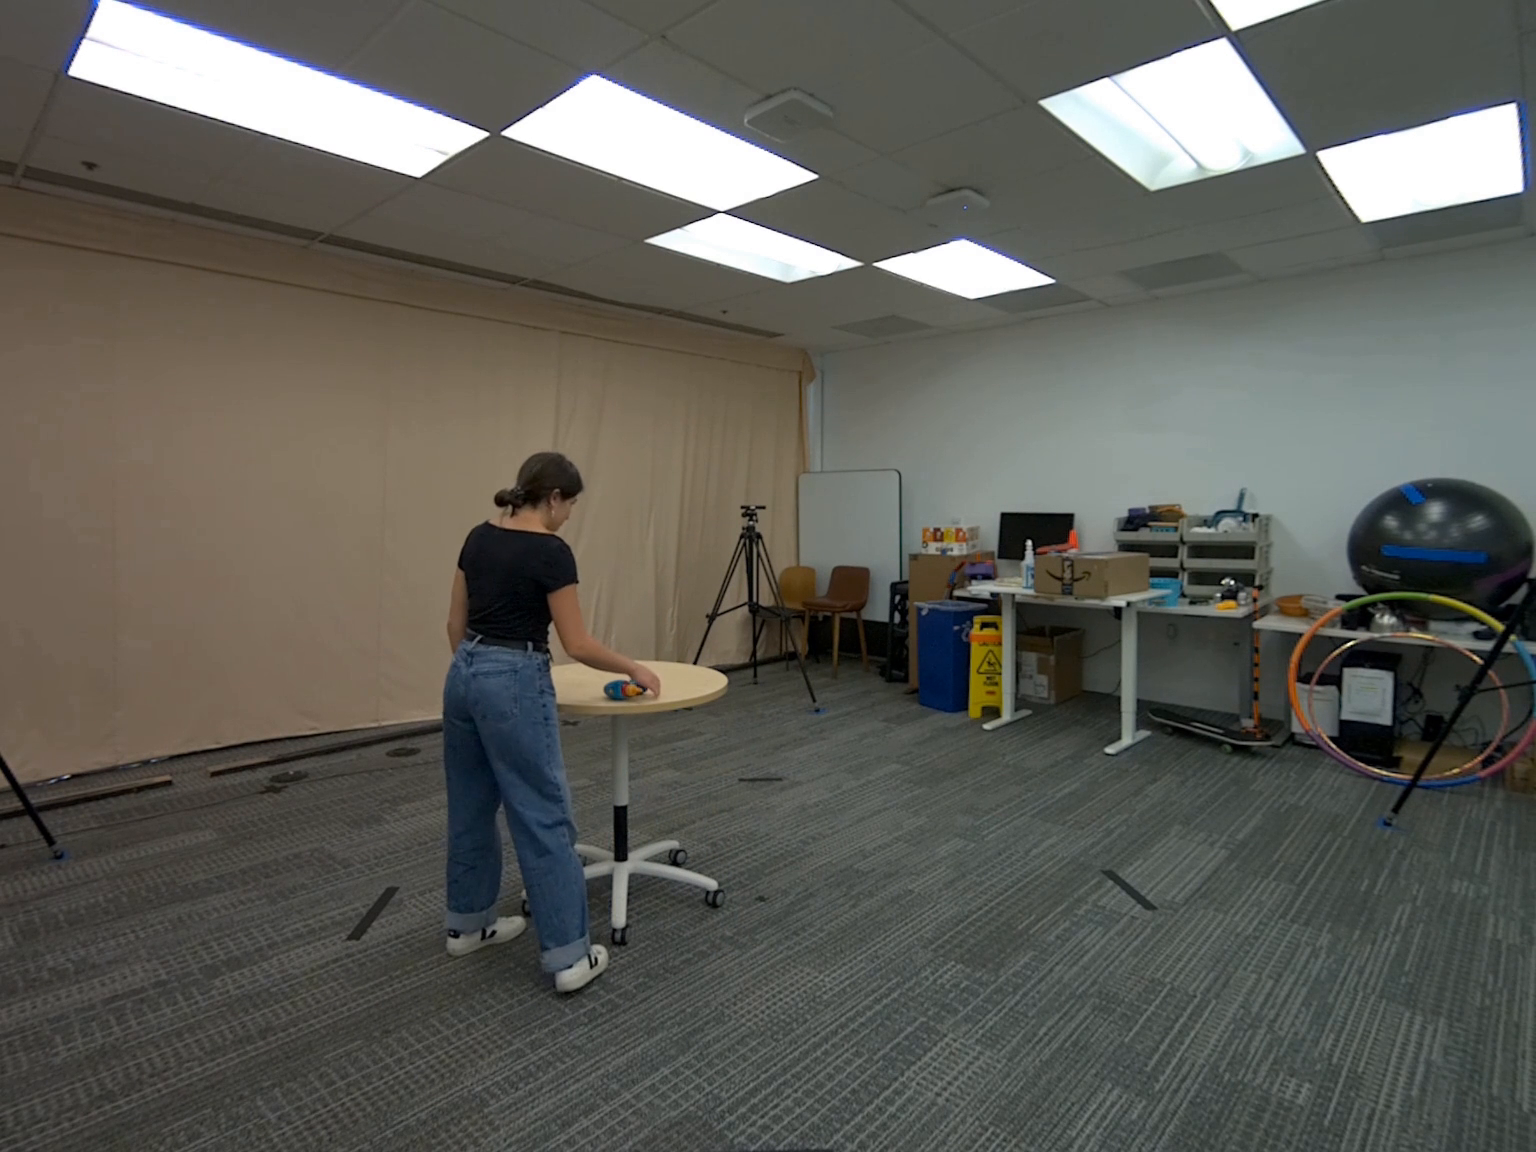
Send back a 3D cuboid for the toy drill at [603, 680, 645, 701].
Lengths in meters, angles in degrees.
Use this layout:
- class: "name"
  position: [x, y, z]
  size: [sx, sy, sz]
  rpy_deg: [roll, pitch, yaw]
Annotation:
- class: "toy drill"
  position: [-0.423, 0.362, 2.690]
  size: [0.175, 0.061, 0.142]
  rpy_deg: [-6, 1, 38]
